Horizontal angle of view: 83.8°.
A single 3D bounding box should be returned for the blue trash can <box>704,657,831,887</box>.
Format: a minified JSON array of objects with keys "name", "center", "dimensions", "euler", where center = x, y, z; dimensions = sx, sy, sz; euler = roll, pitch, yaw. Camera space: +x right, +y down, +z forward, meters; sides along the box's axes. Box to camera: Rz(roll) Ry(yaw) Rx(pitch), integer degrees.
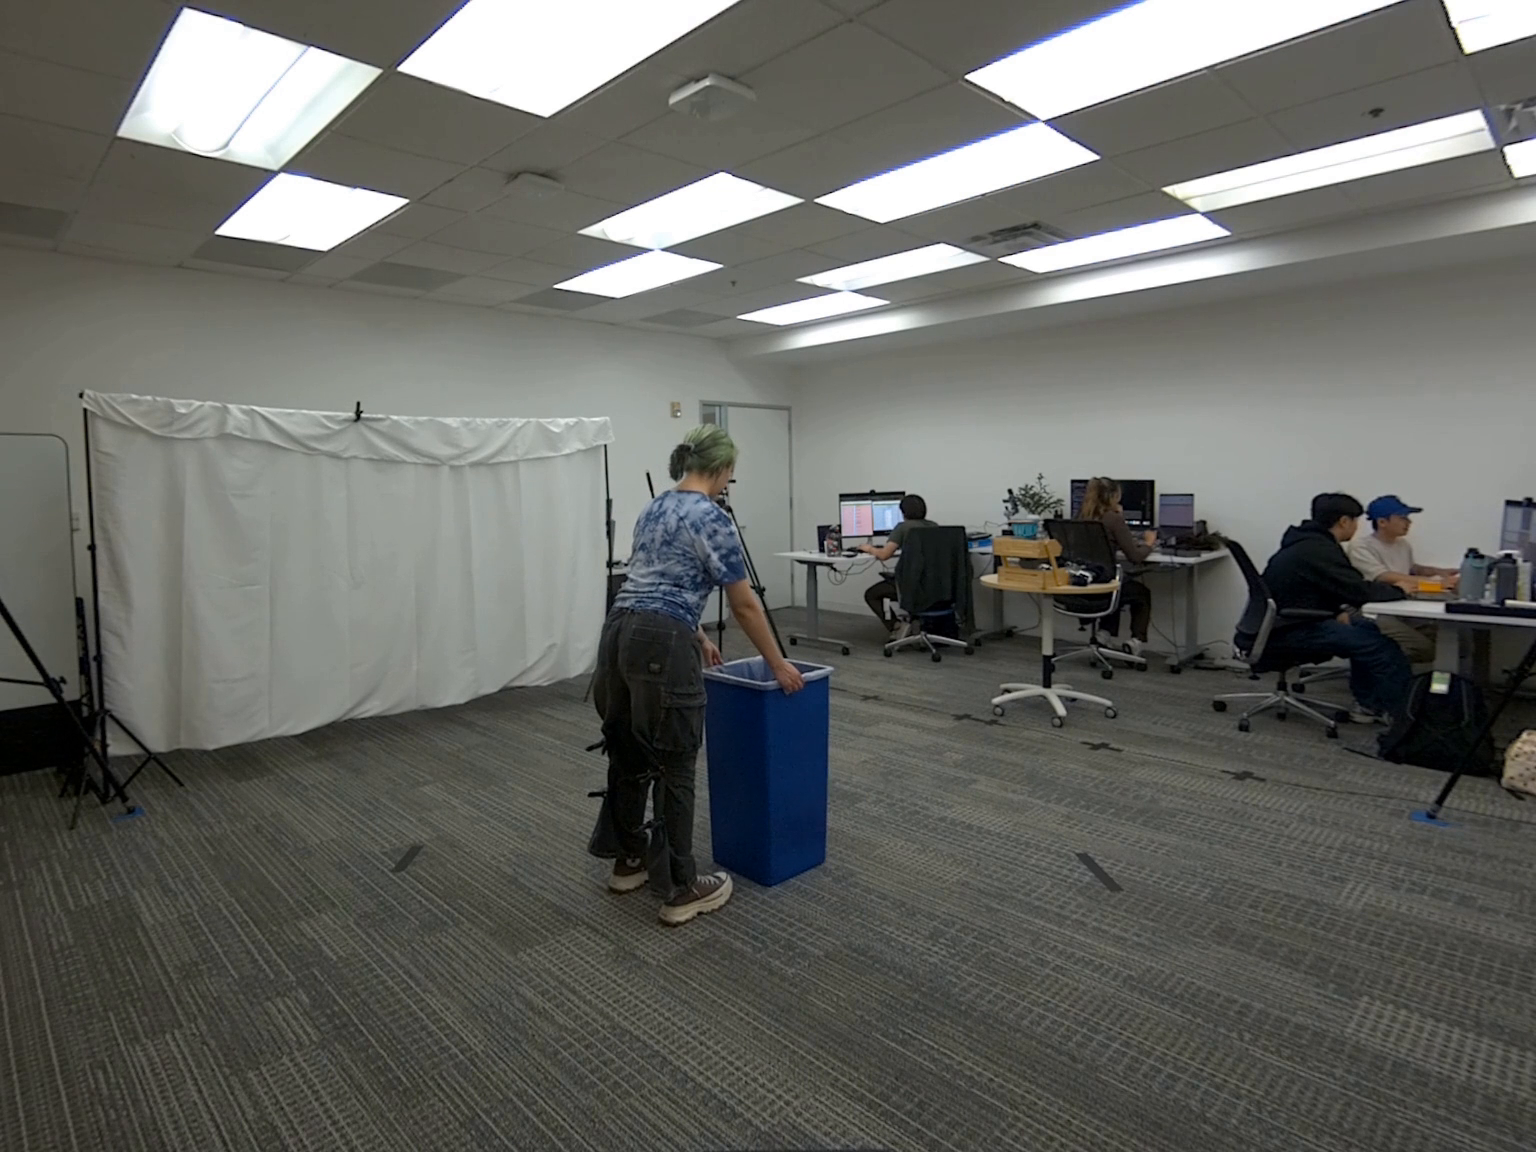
[{"name":"blue trash can","center":[-0.005,0.690,3.114],"dimensions":[0.368,0.711,0.385],"euler":[-4,5,-44]}]
